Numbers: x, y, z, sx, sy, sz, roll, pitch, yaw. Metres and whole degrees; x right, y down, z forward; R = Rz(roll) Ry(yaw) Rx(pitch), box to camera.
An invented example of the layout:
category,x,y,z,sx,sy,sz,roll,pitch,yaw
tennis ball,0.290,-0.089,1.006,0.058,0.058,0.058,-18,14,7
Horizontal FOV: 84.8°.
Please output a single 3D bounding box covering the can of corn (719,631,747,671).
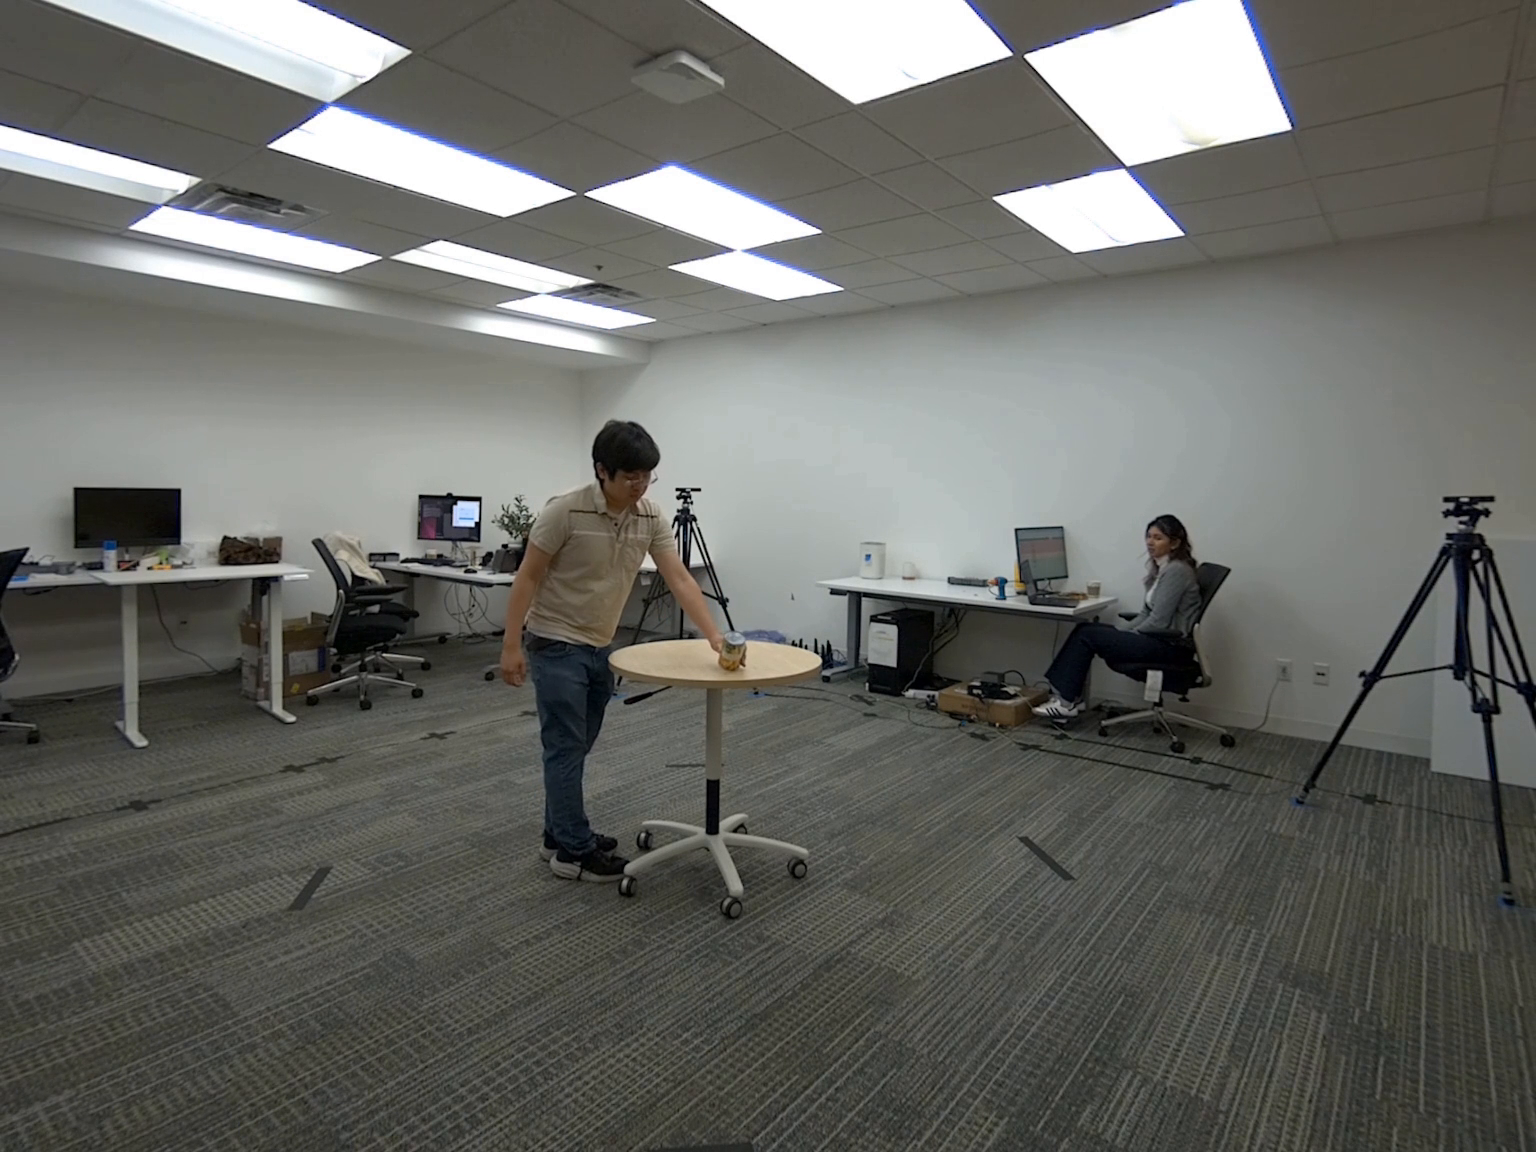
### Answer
category,x,y,z,sx,sy,sz,roll,pitch,yaw
can of corn,-0.130,0.246,2.833,0.074,0.109,0.076,5,21,-4
